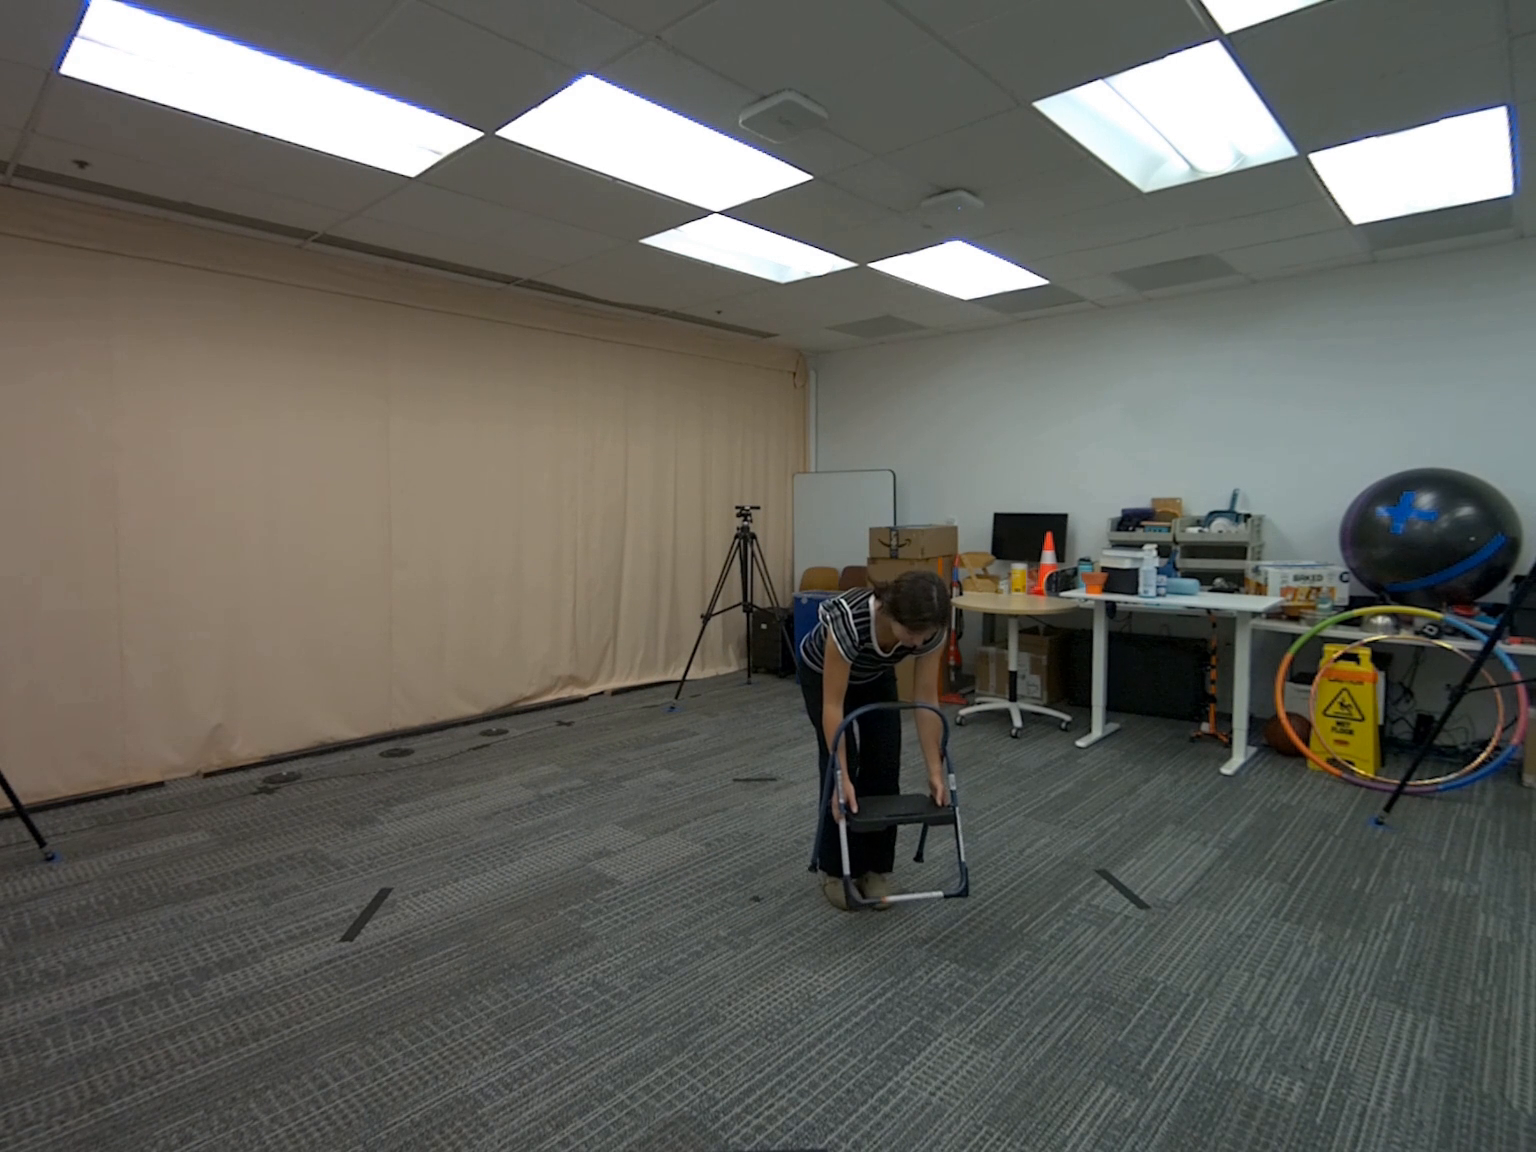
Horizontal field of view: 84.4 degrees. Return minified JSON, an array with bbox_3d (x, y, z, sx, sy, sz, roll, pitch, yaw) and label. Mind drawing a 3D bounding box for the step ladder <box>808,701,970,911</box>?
[{"bbox_3d":[0.390,0.707,2.767,0.423,0.606,0.355,0,0,-17],"label":"step ladder"}]
